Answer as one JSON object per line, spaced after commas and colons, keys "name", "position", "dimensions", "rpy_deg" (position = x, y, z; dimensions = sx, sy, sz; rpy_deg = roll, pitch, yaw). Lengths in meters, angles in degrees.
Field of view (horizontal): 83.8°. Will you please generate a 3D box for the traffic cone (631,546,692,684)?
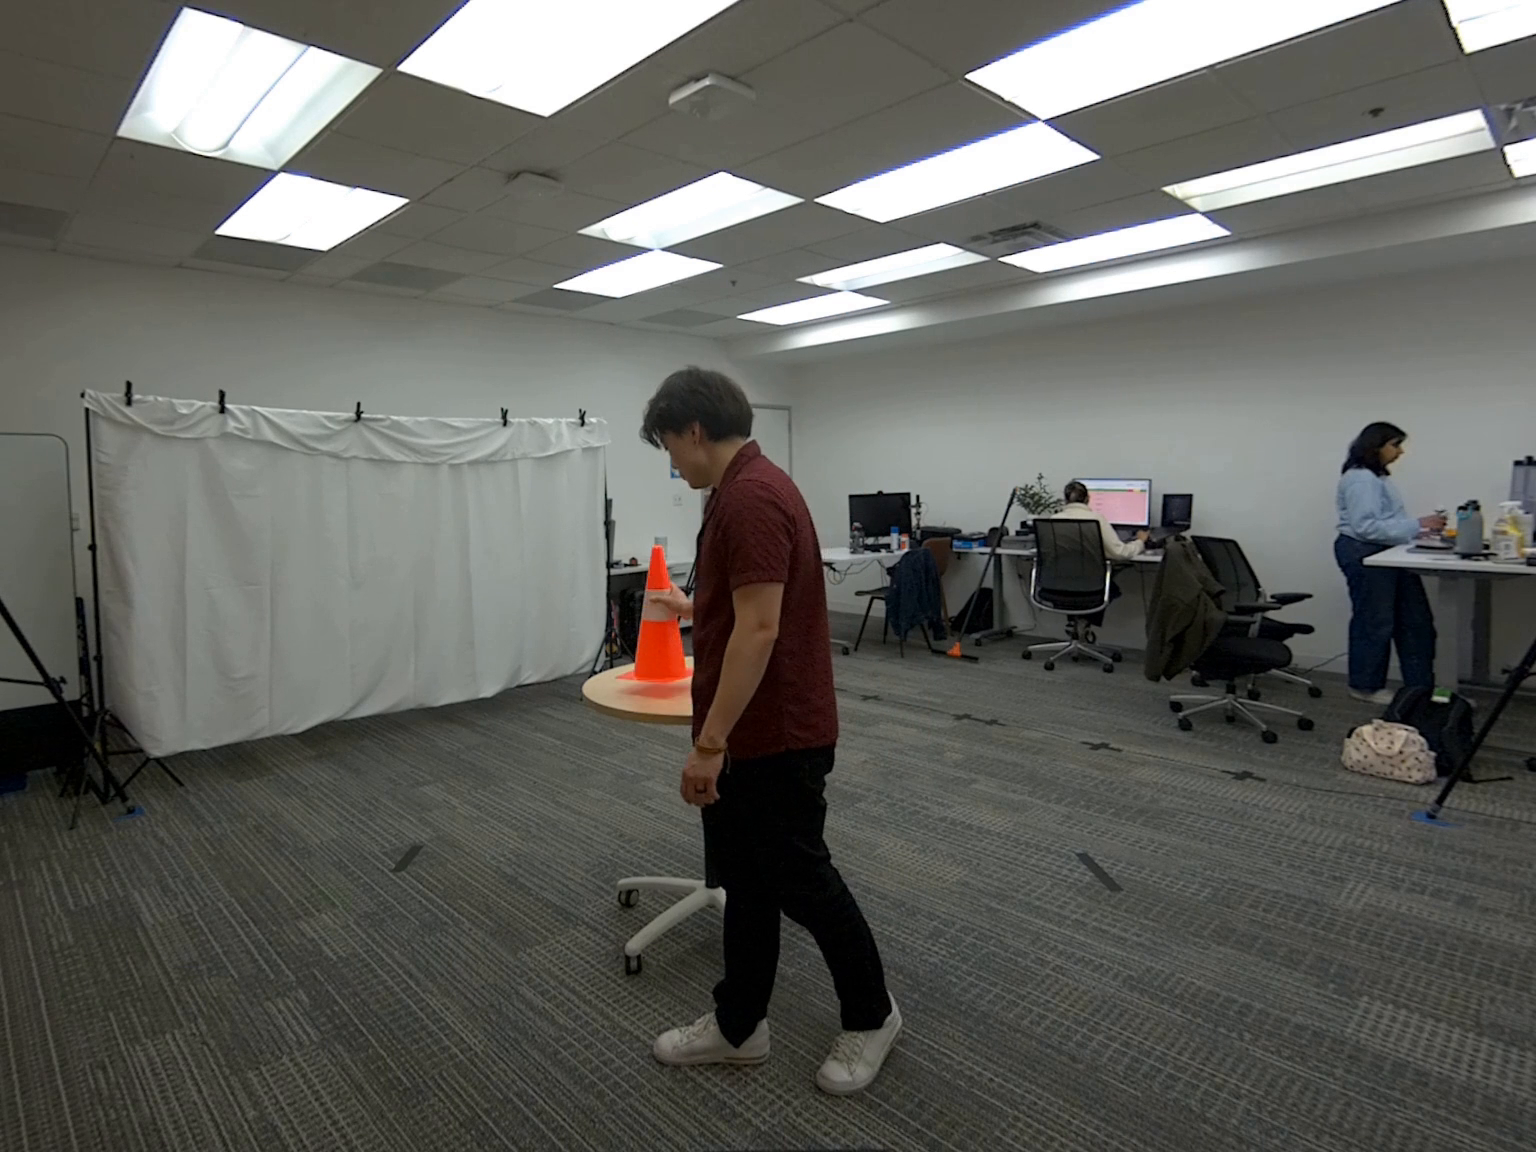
{"name": "traffic cone", "position": [-0.322, 0.100, 2.512], "dimensions": [0.208, 0.382, 0.201], "rpy_deg": [0, 4, 27]}
